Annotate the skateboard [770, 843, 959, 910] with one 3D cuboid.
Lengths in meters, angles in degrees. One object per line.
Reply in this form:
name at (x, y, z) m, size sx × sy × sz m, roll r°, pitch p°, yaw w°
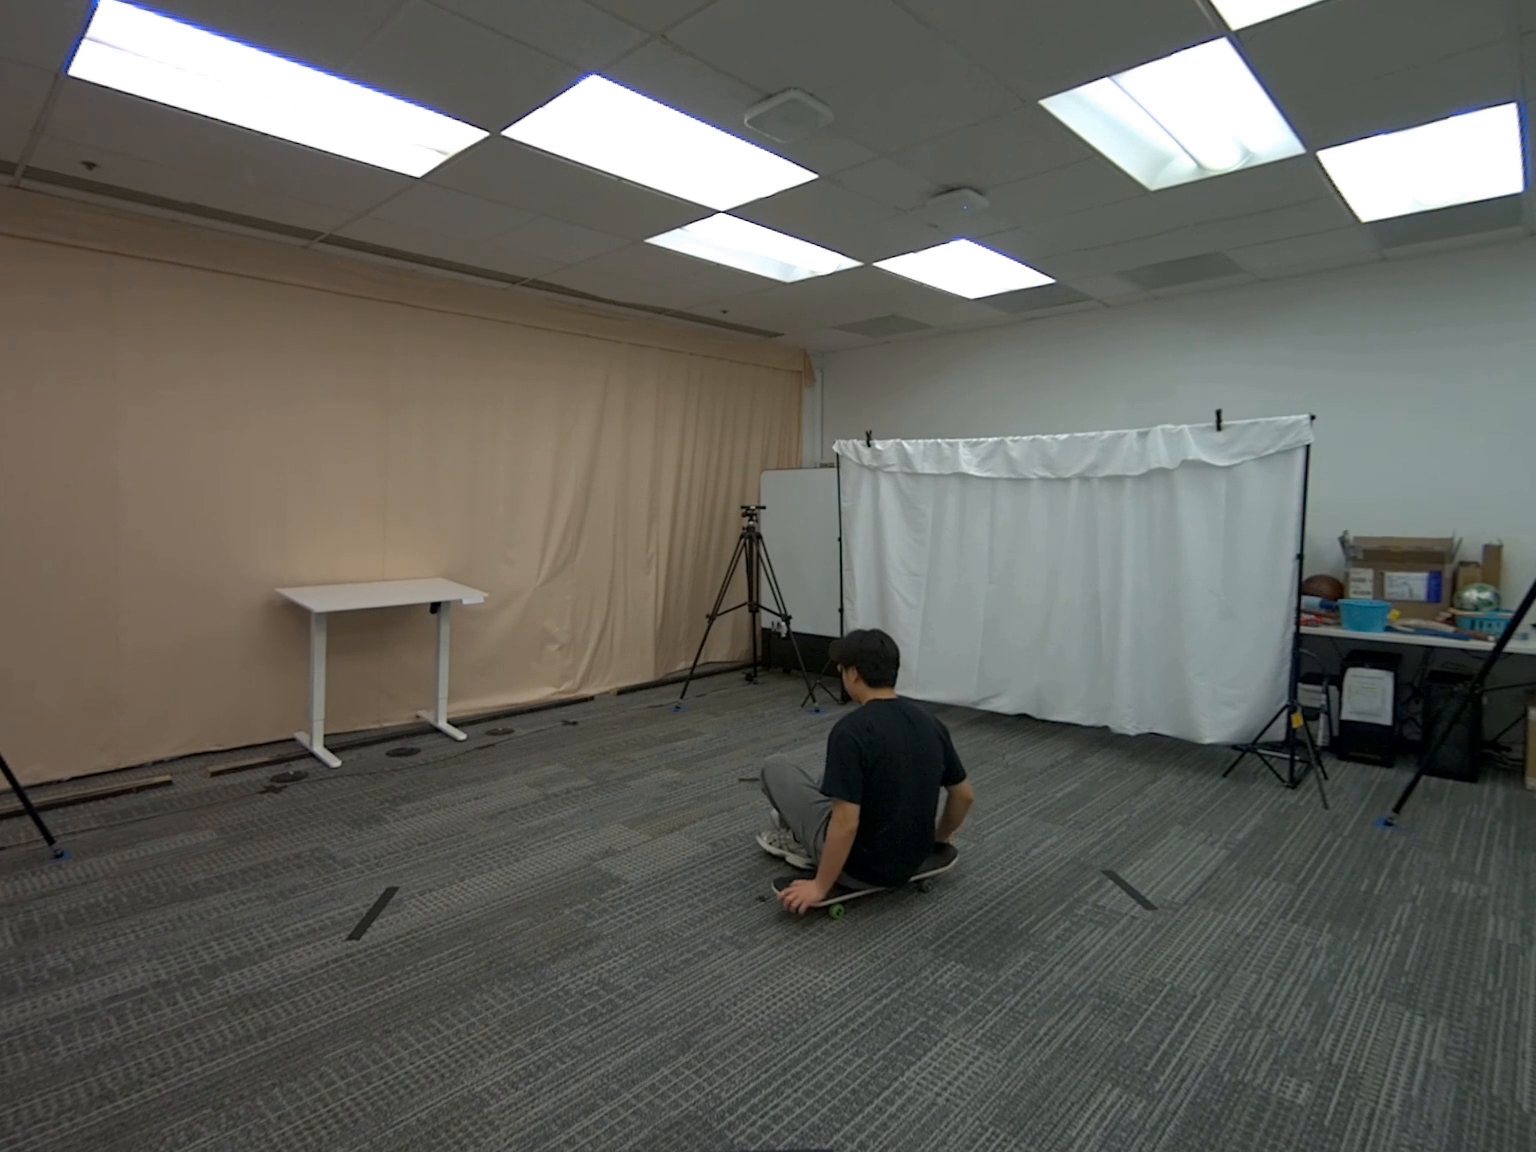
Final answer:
skateboard at (0.353, 1.094, 3.007) m, size 0.765 × 0.110 × 0.199 m, roll -3°, pitch 9°, yaw -28°
